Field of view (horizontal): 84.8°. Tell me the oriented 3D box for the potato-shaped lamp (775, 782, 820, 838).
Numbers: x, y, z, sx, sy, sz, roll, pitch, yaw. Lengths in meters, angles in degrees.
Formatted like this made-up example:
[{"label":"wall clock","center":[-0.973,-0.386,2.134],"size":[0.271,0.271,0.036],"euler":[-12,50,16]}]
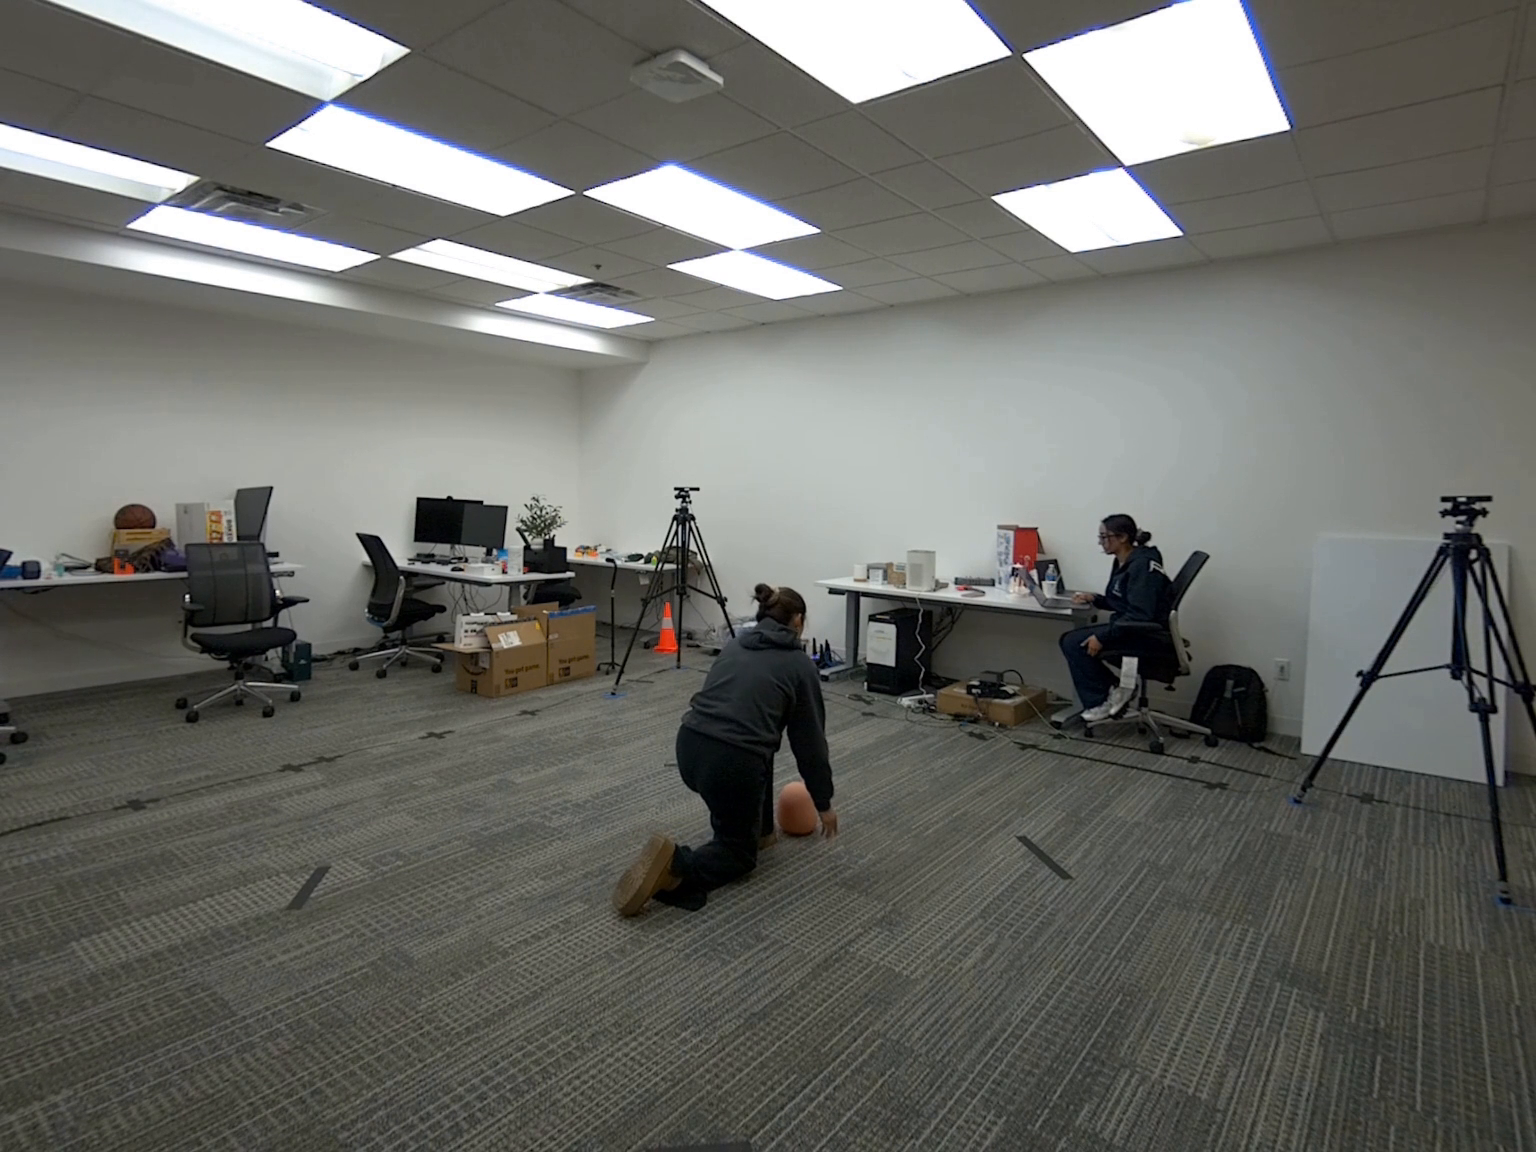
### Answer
[{"label":"potato-shaped lamp","center":[0.118,0.941,3.474],"size":[0.170,0.198,0.166],"euler":[2,3,34]}]
